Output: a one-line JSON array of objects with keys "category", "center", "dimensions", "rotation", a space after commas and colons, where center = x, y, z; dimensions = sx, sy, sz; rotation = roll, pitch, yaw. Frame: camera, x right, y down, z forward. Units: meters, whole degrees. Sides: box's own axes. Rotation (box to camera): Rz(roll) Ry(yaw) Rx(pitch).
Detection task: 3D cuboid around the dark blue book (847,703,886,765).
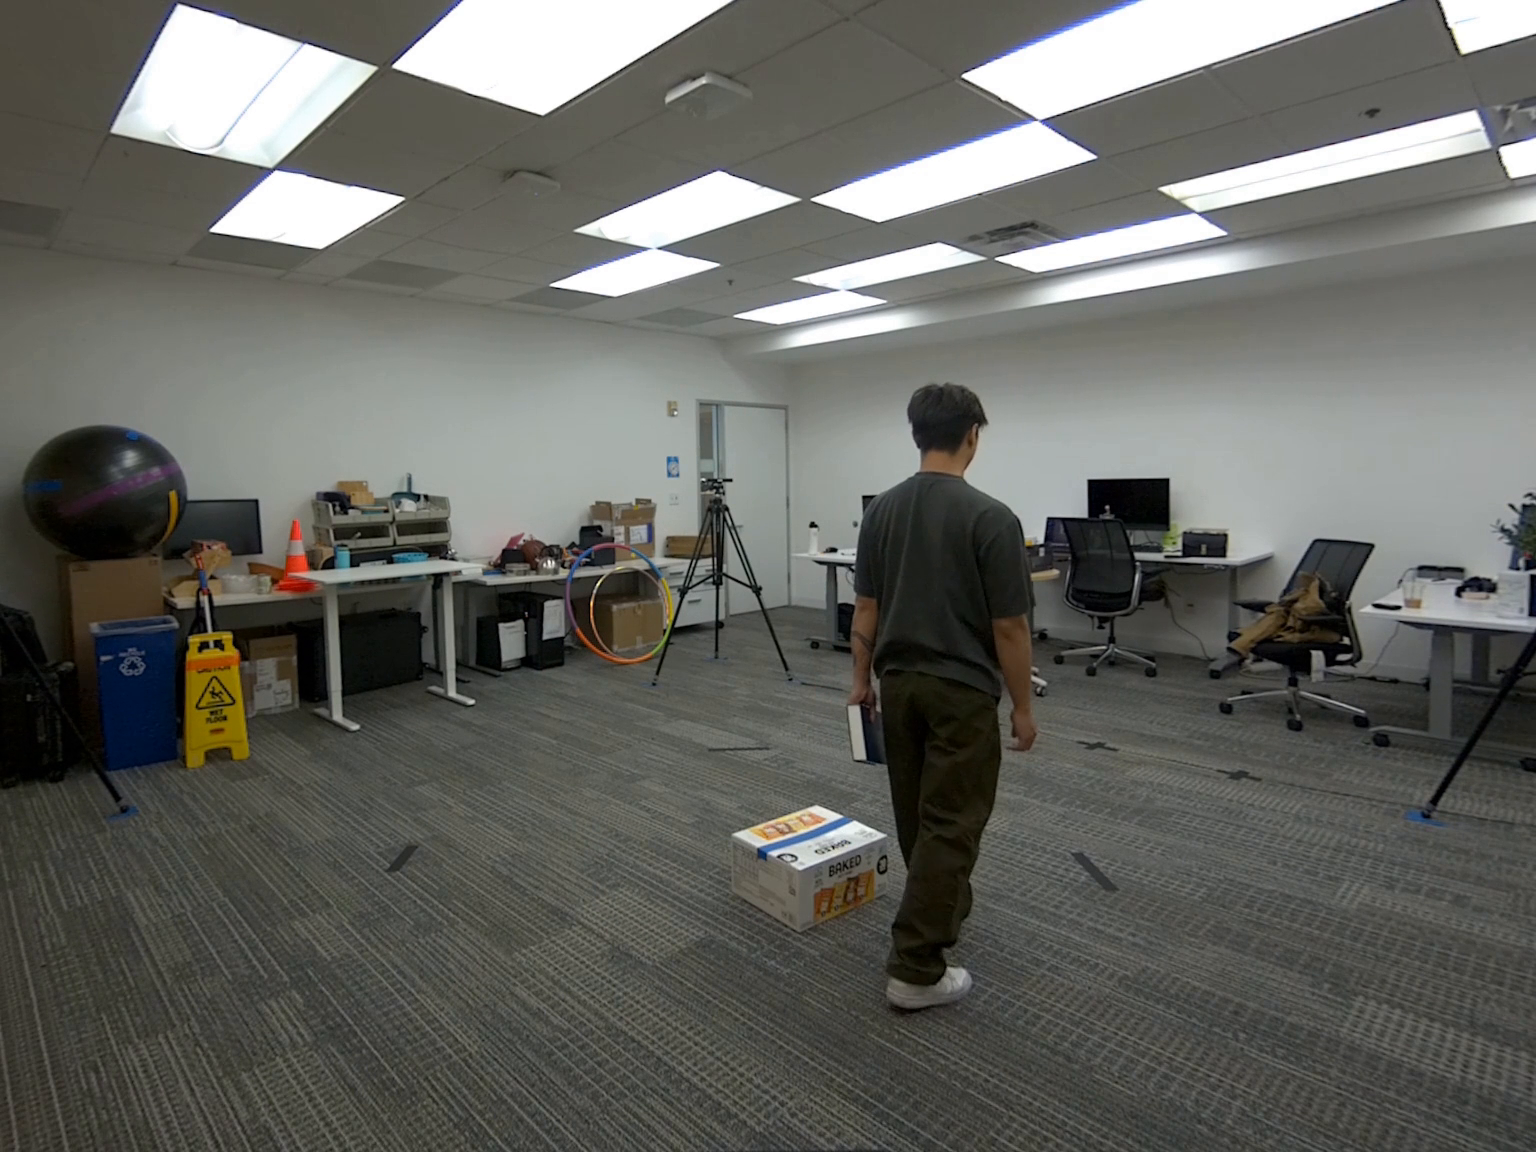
[{"category": "dark blue book", "center": [0.308, 0.475, 2.550], "dimensions": [0.046, 0.166, 0.237], "rotation": [-8, -17, 19]}]
